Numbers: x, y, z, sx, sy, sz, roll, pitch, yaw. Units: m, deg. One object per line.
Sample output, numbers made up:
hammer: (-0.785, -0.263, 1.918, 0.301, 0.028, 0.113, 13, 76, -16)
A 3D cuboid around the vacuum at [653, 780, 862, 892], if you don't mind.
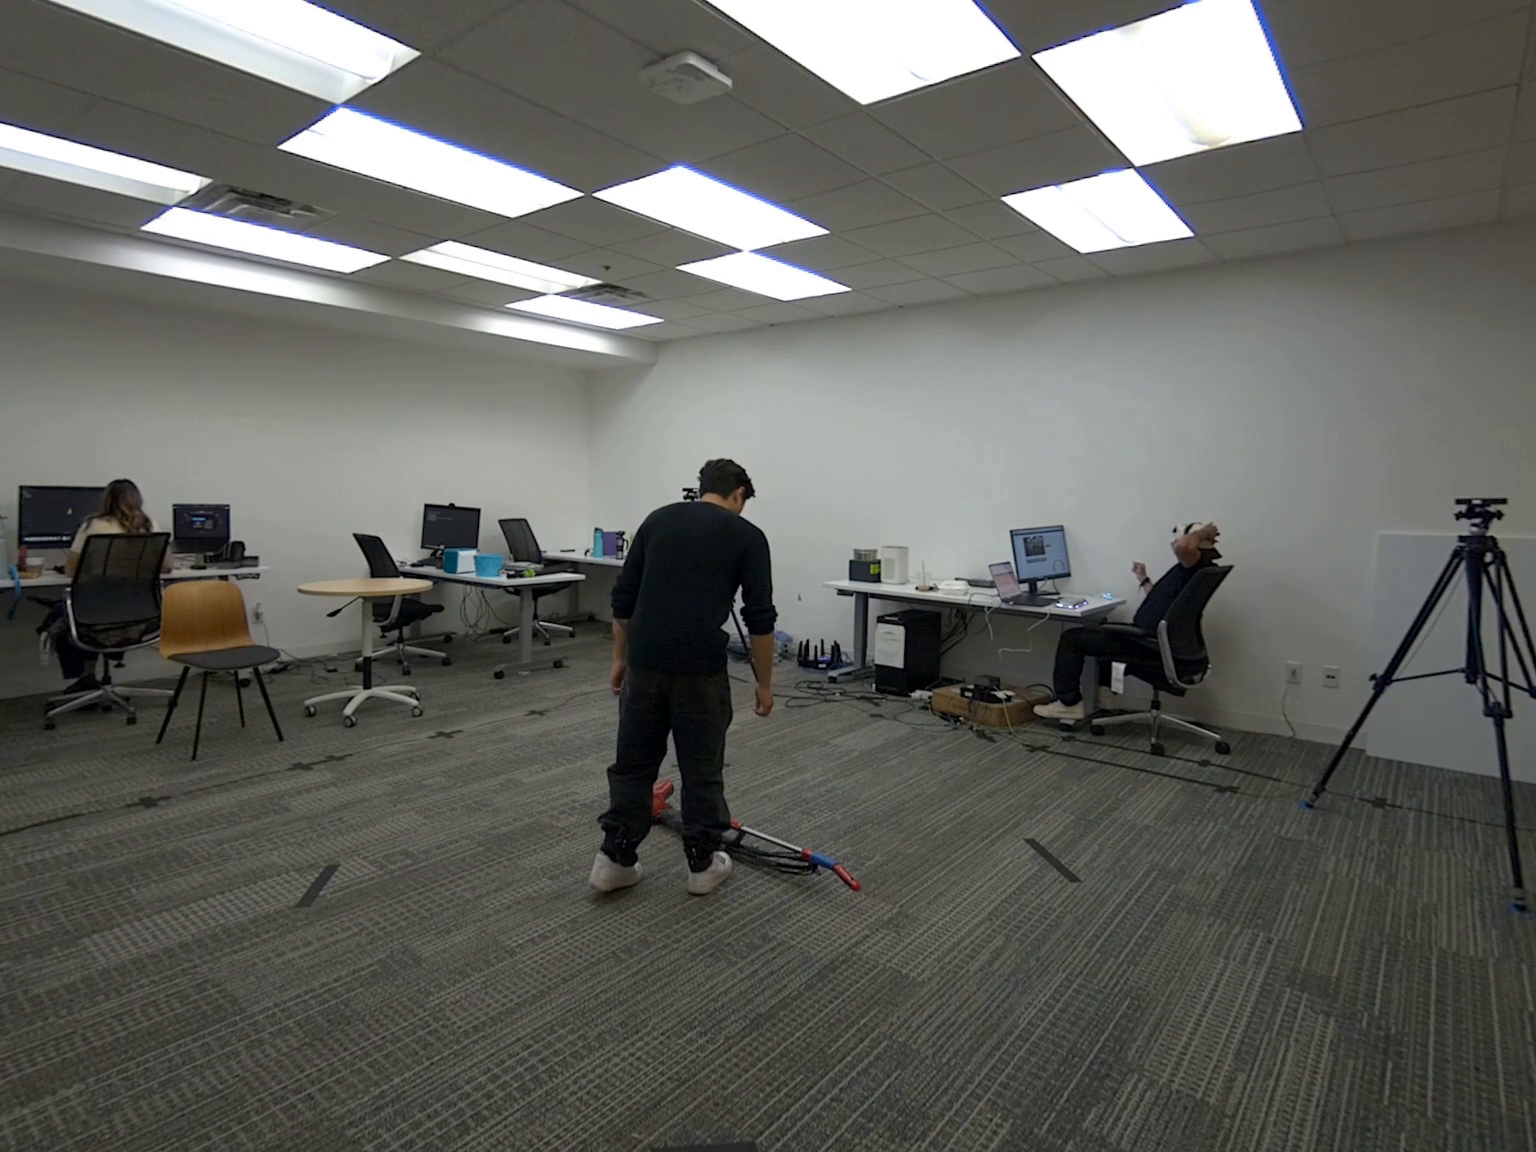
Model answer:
vacuum: (-0.097, 0.998, 3.220, 1.086, 0.143, 0.246, 7, 11, 43)
